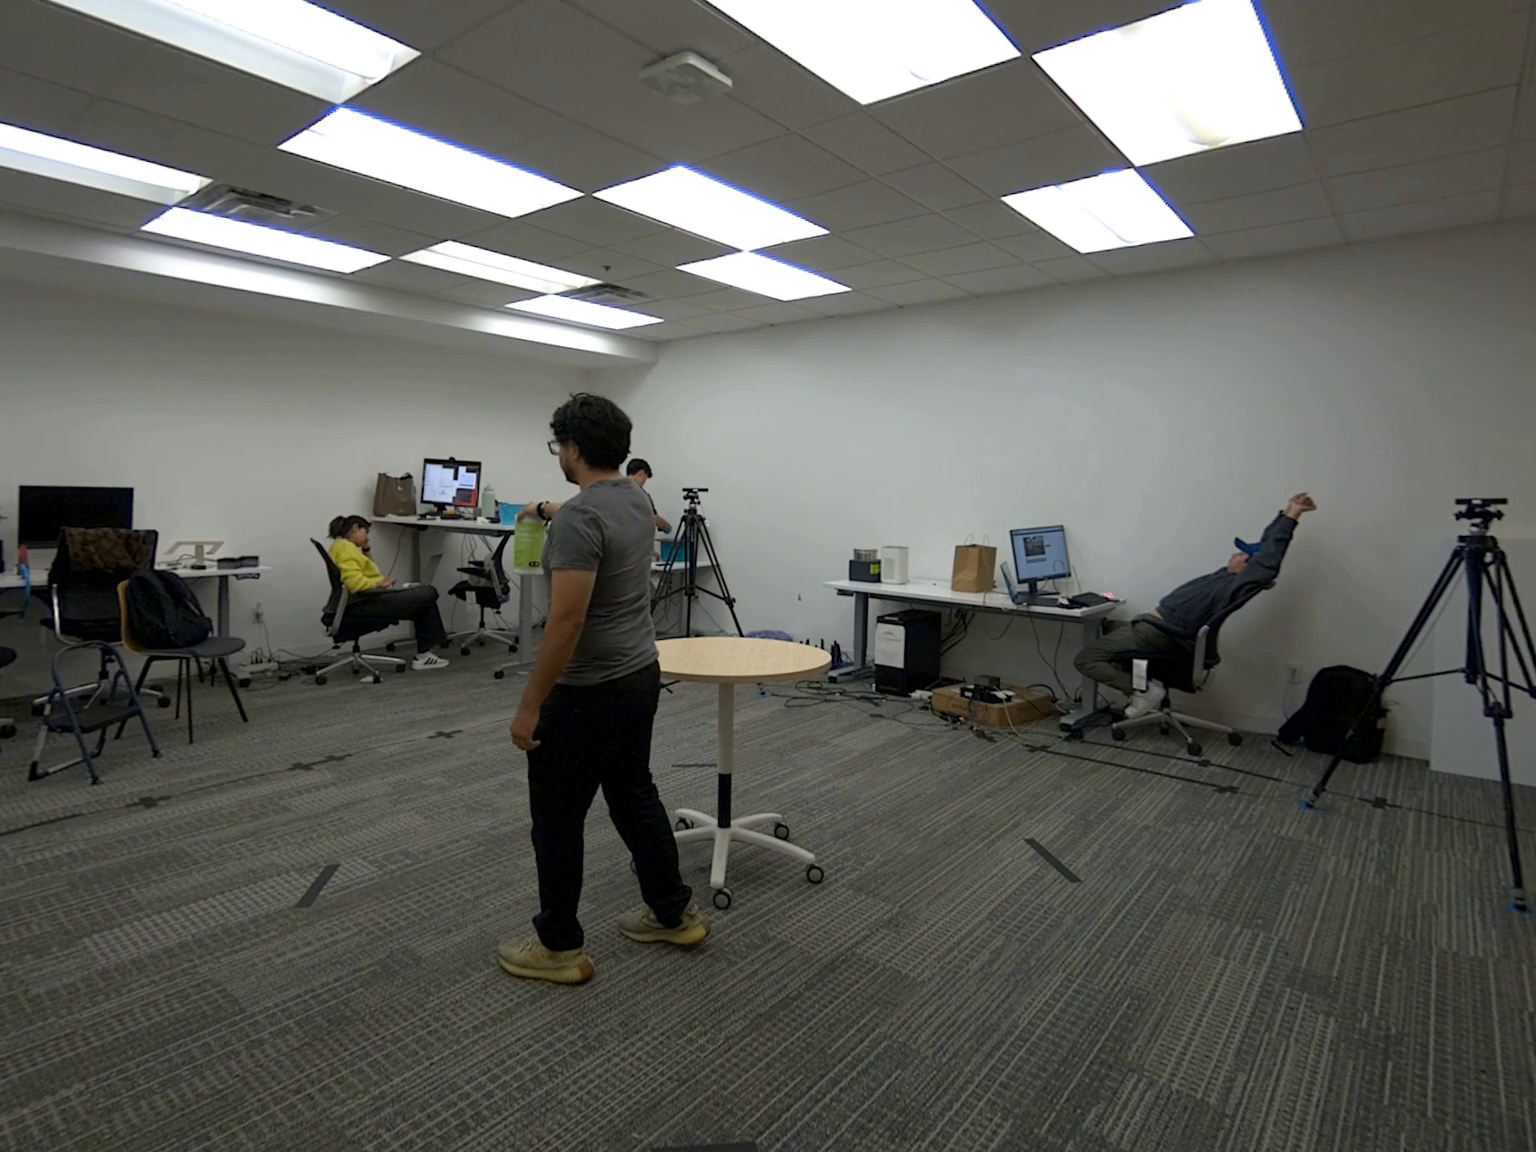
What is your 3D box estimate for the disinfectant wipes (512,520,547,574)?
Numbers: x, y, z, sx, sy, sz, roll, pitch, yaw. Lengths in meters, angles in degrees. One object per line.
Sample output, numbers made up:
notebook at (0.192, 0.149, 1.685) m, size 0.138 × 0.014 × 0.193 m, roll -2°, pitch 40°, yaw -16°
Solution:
disinfectant wipes at (-0.868, -0.117, 3.050) m, size 0.117 × 0.216 × 0.118 m, roll 3°, pitch 5°, yaw -2°
